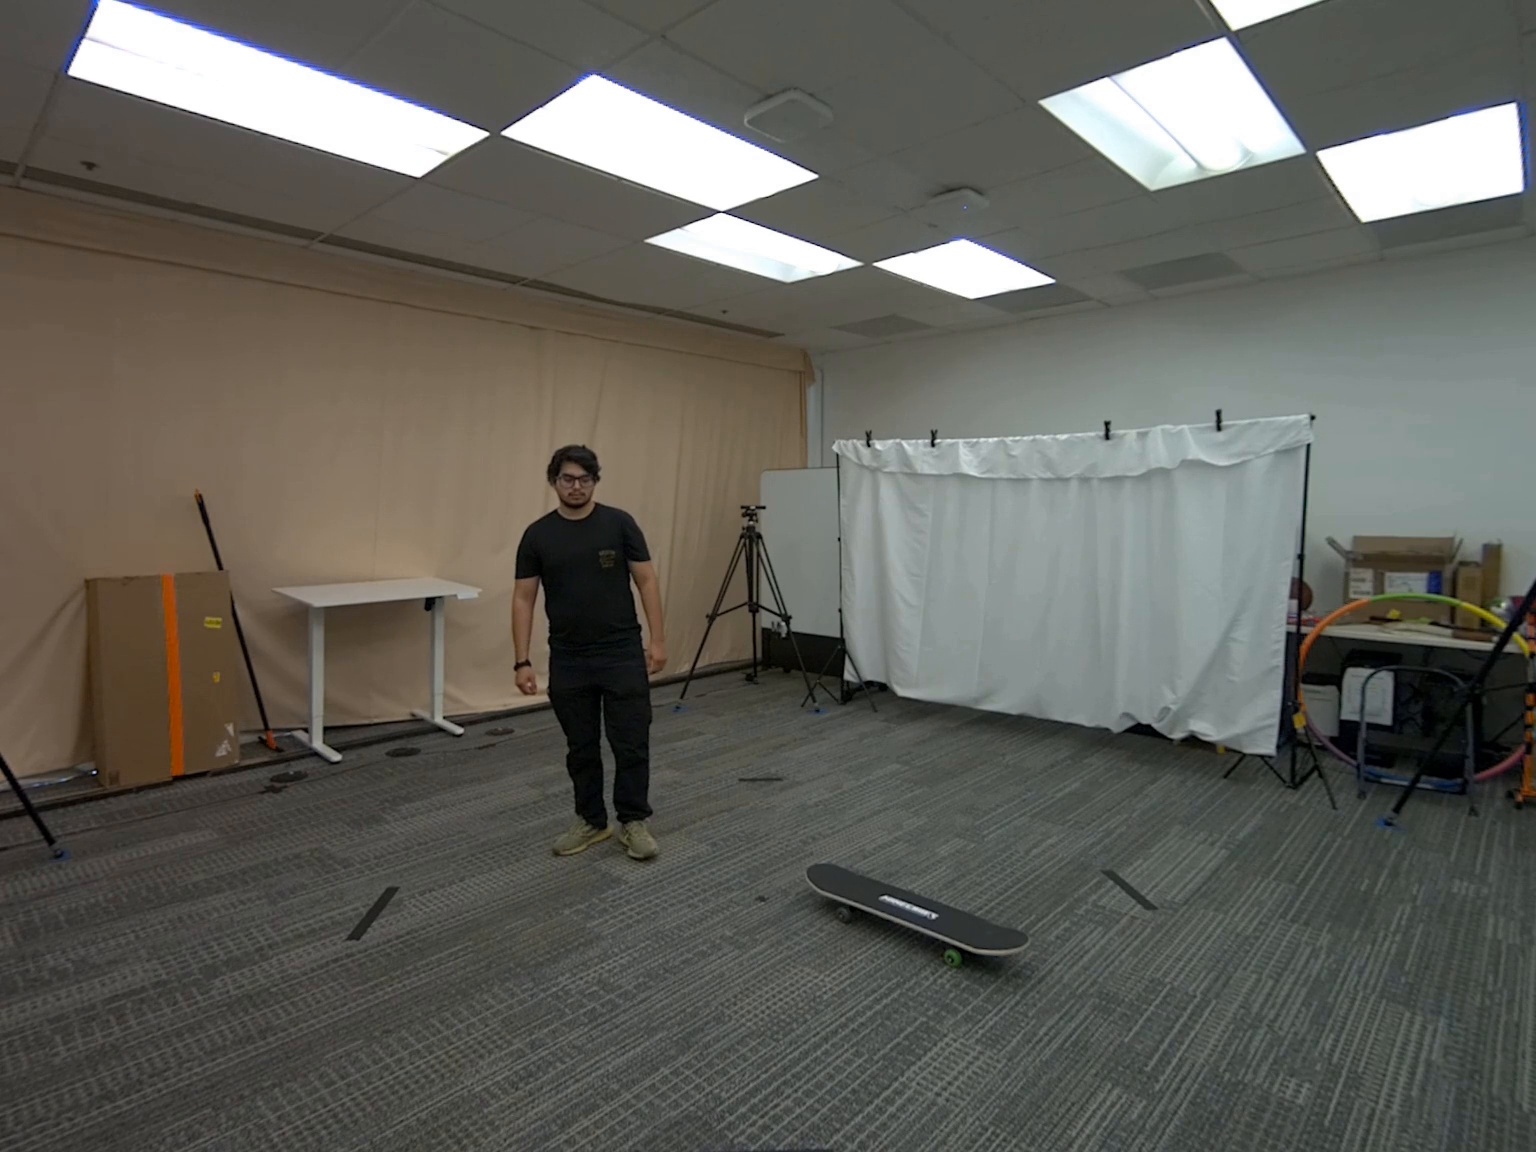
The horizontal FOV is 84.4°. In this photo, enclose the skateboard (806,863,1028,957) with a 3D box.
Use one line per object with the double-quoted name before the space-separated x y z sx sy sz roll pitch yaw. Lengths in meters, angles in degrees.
"skateboard" 0.461 1.106 2.734 0.812 0.110 0.187 4 6 42
